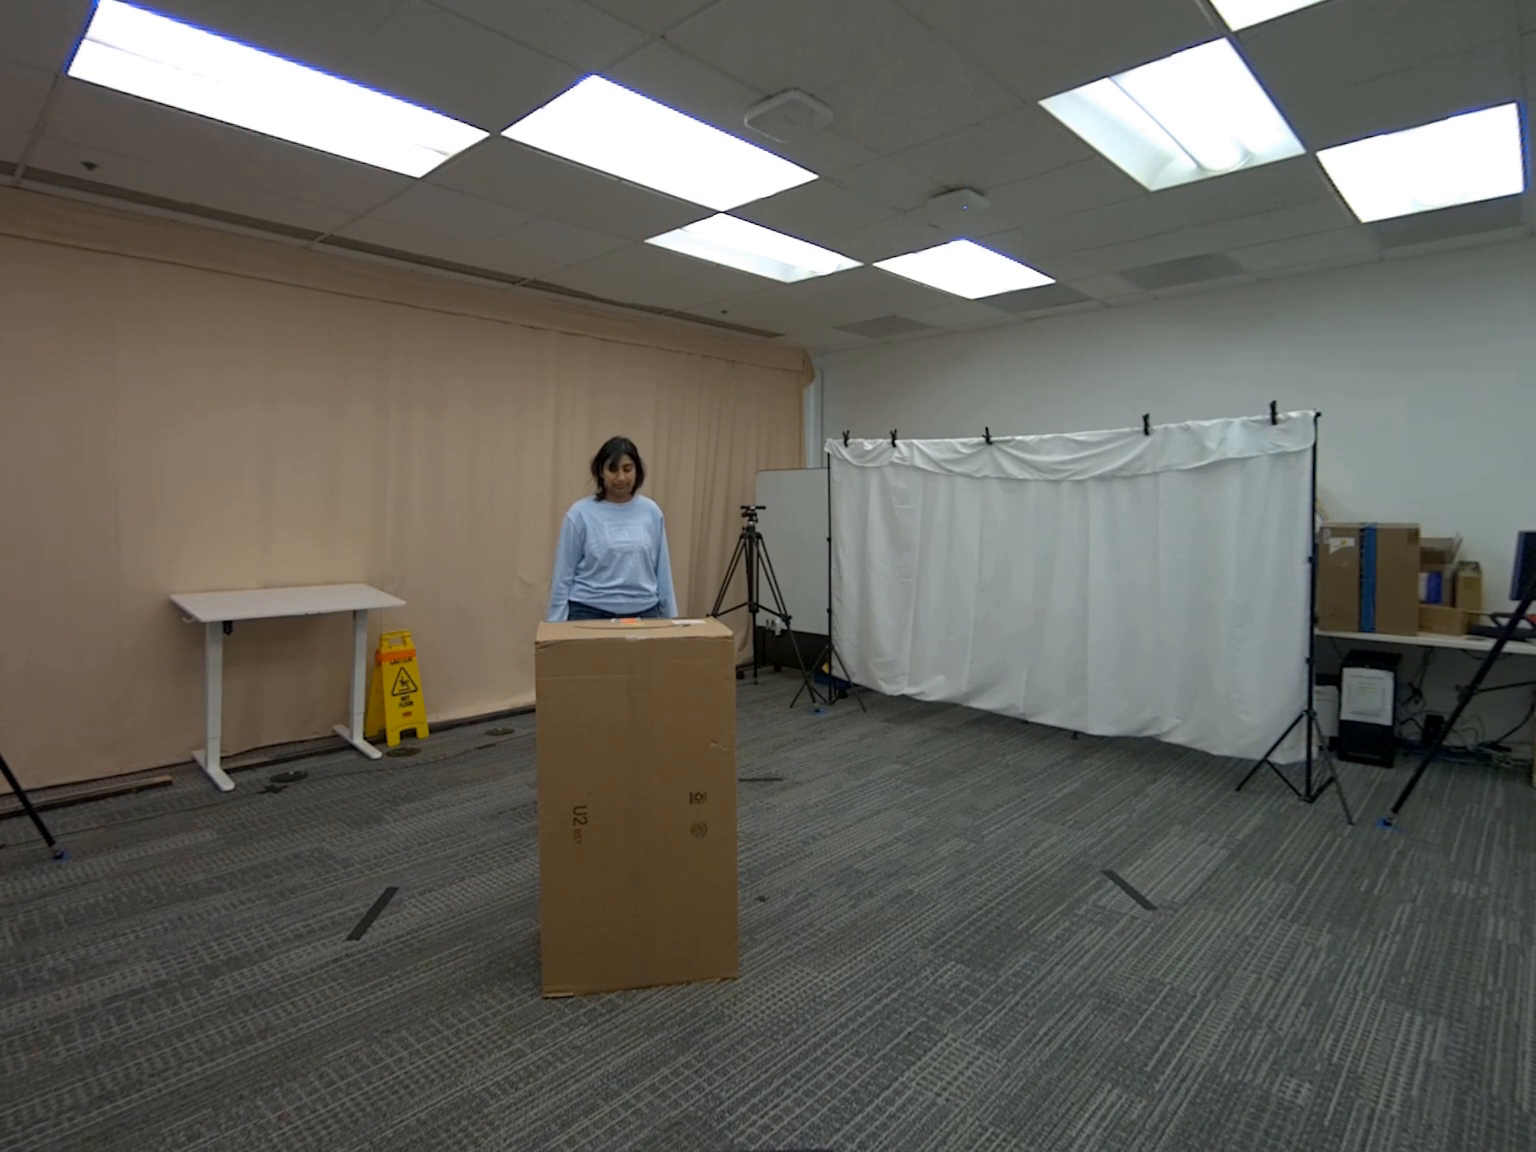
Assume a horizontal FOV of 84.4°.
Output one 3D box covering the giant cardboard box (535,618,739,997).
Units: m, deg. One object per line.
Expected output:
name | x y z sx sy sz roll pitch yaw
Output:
giant cardboard box | -0.409 0.669 2.615 0.577 1.025 0.452 -1 2 -11
